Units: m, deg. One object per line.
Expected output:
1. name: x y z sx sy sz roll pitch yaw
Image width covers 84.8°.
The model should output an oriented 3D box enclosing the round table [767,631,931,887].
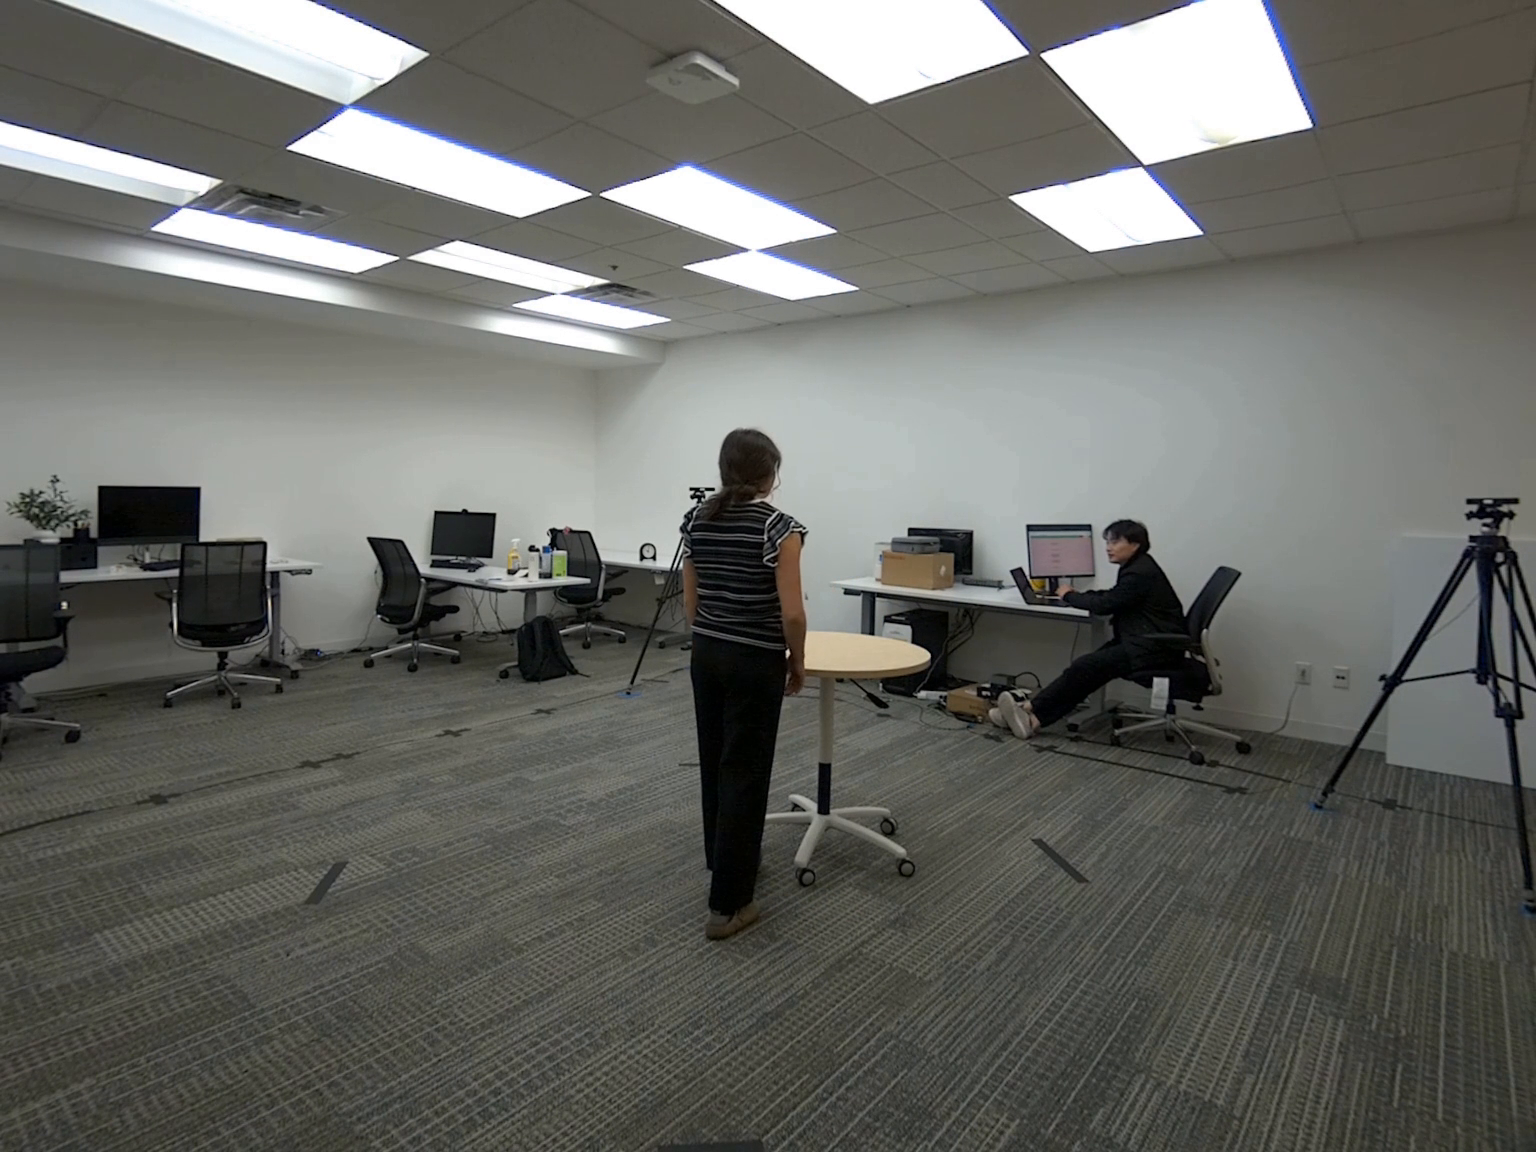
1. round table: 0.216 0.670 3.297 0.763 0.791 0.768 1 5 -2
